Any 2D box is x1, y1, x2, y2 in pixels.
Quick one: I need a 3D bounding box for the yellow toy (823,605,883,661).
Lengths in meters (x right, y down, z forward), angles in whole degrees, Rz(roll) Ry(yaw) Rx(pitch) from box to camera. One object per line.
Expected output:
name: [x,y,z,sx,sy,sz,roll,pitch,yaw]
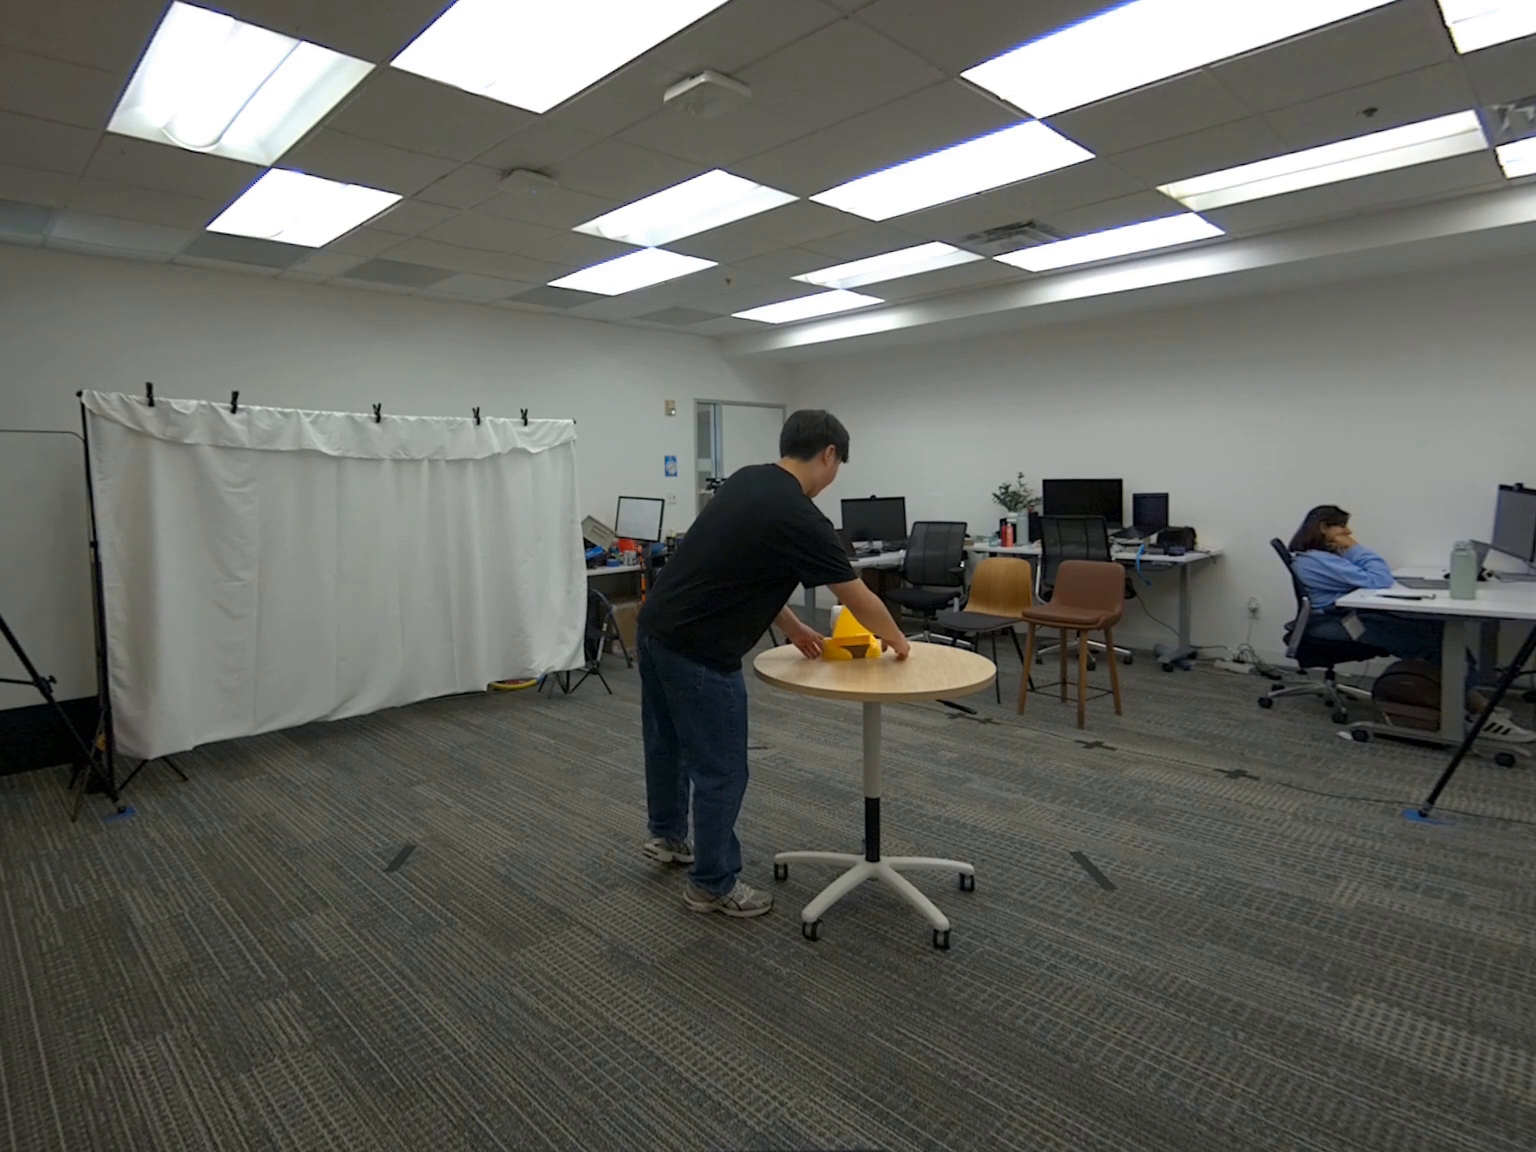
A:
yellow toy: [0.284,0.151,2.880,0.202,0.230,0.197,-3,5,-18]
